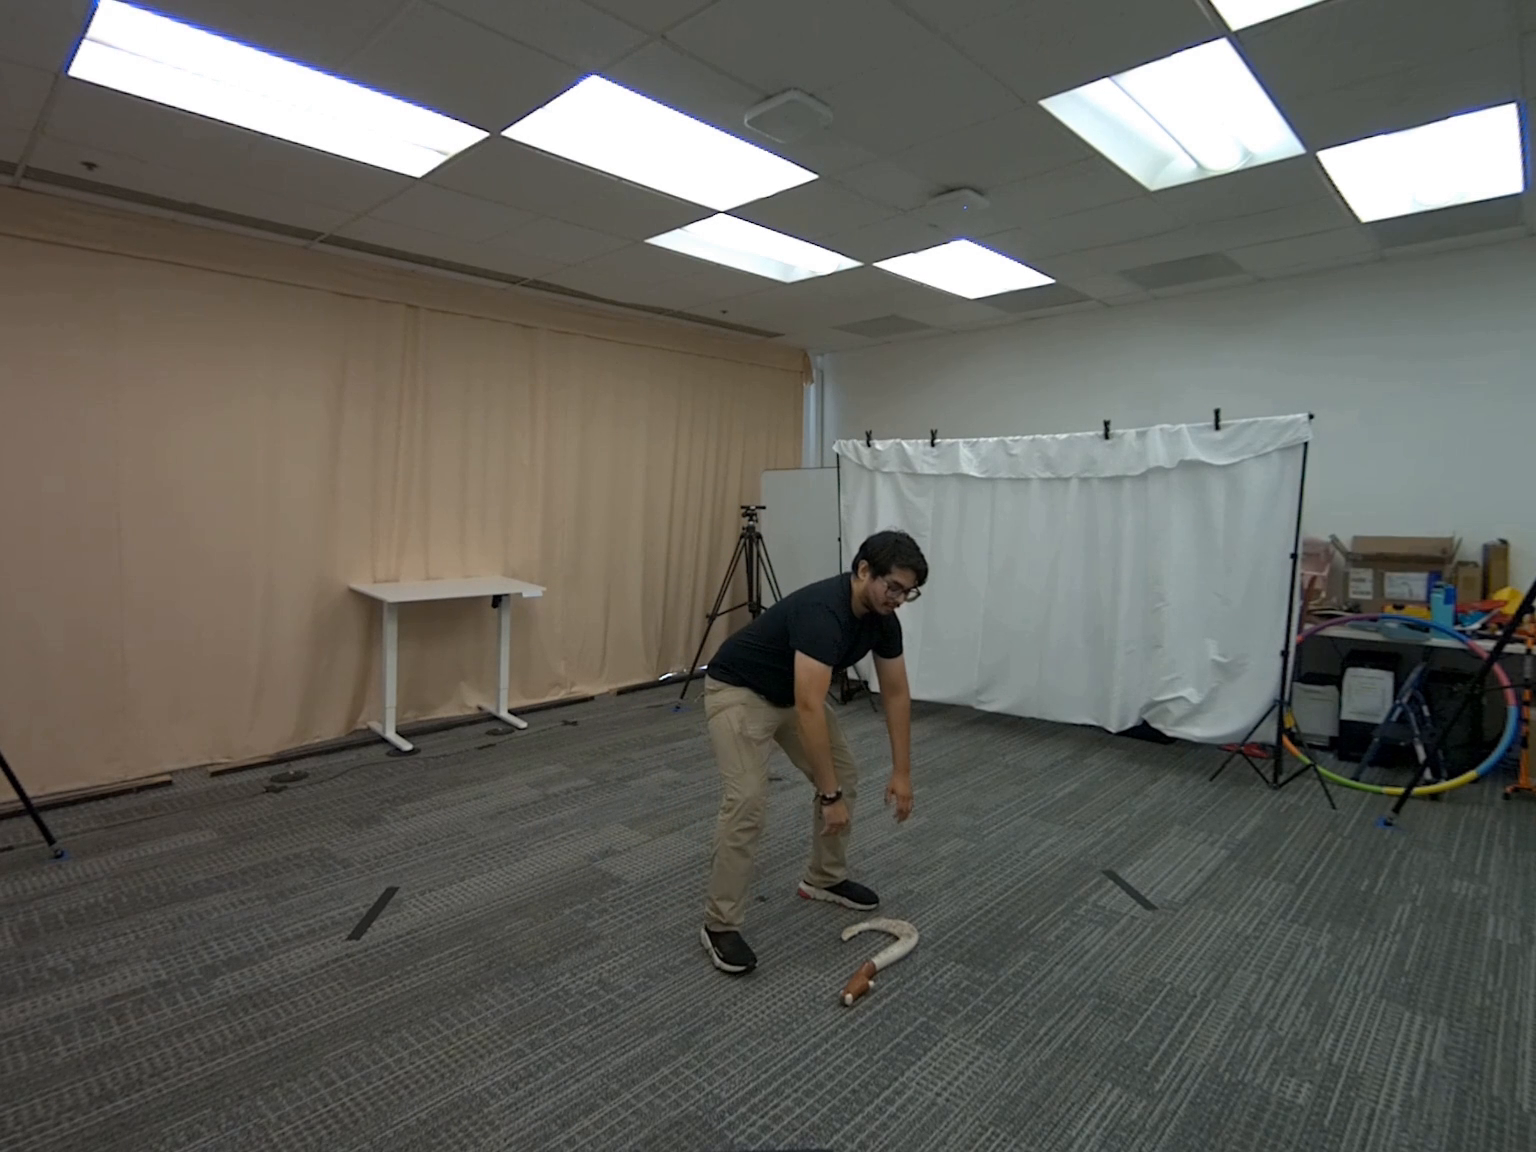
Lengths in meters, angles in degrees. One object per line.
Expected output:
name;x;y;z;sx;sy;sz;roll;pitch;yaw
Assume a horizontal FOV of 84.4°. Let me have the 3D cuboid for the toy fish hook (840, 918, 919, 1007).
toy fish hook;0.287;1.157;2.568;0.231;0.048;0.493;-5;0;31
